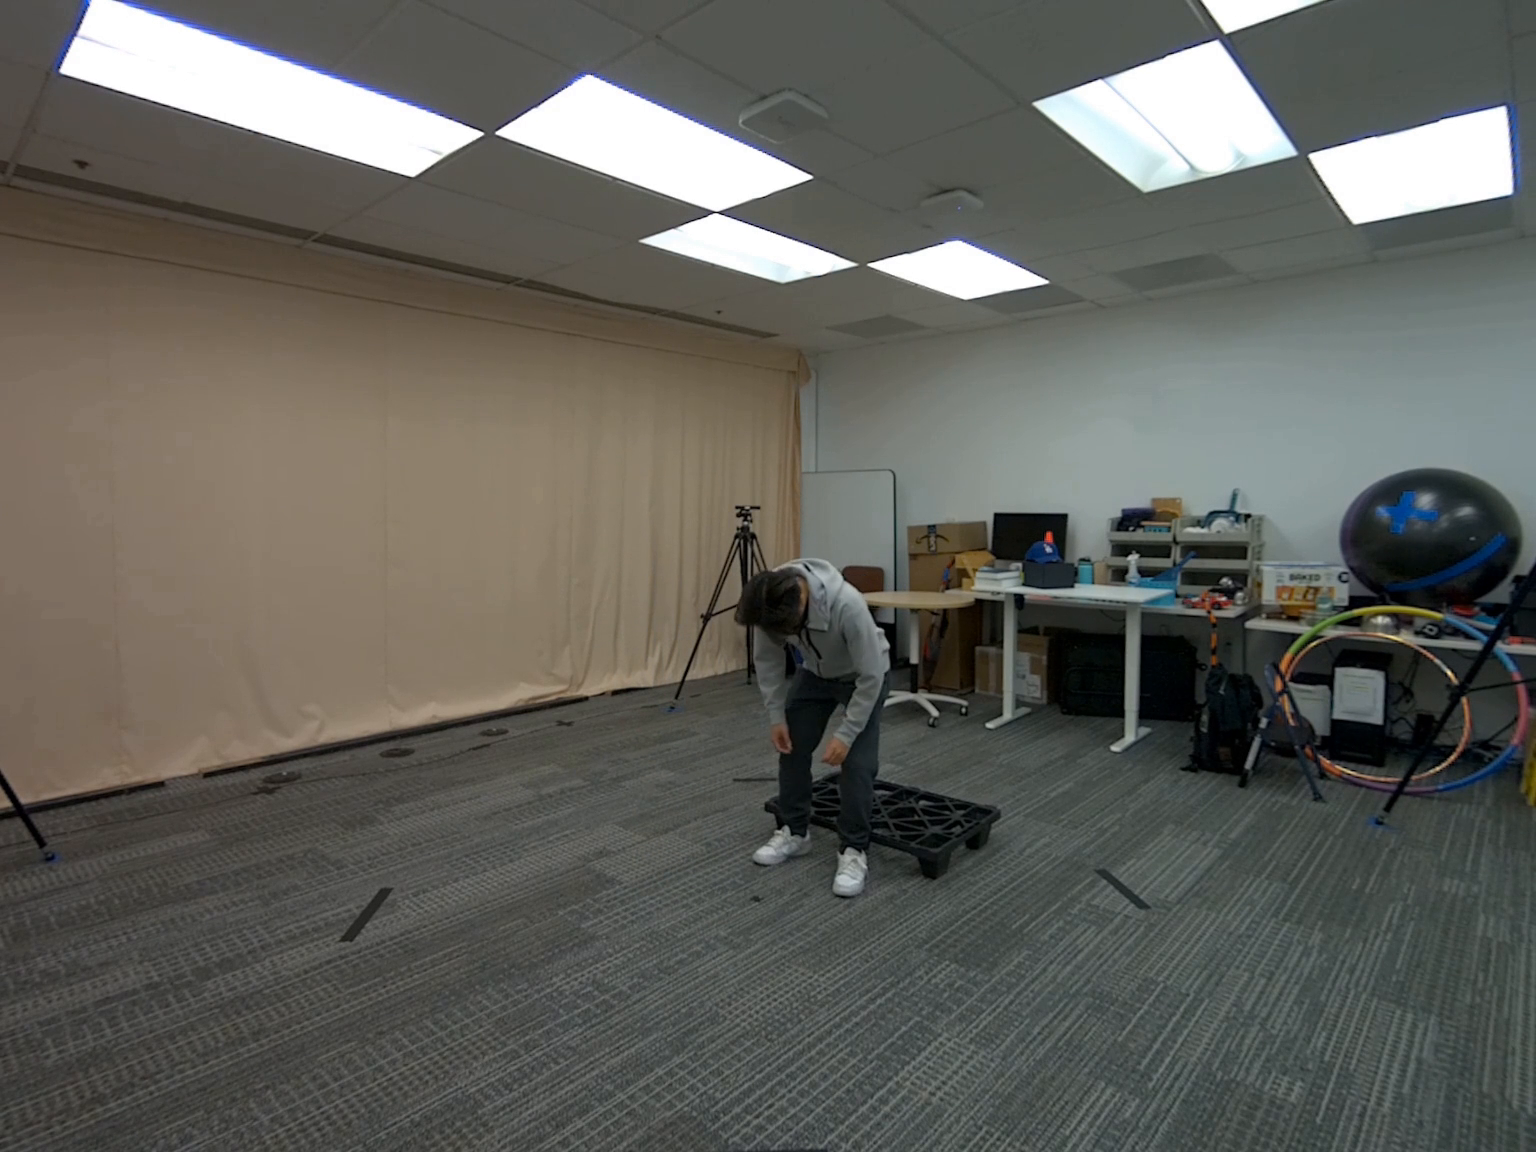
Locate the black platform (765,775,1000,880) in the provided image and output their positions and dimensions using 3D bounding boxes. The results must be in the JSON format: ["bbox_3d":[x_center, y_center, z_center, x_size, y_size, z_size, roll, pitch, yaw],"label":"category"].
[{"bbox_3d":[0.475,1.030,3.531,0.832,0.143,0.587,4,6,39],"label":"black platform"}]
